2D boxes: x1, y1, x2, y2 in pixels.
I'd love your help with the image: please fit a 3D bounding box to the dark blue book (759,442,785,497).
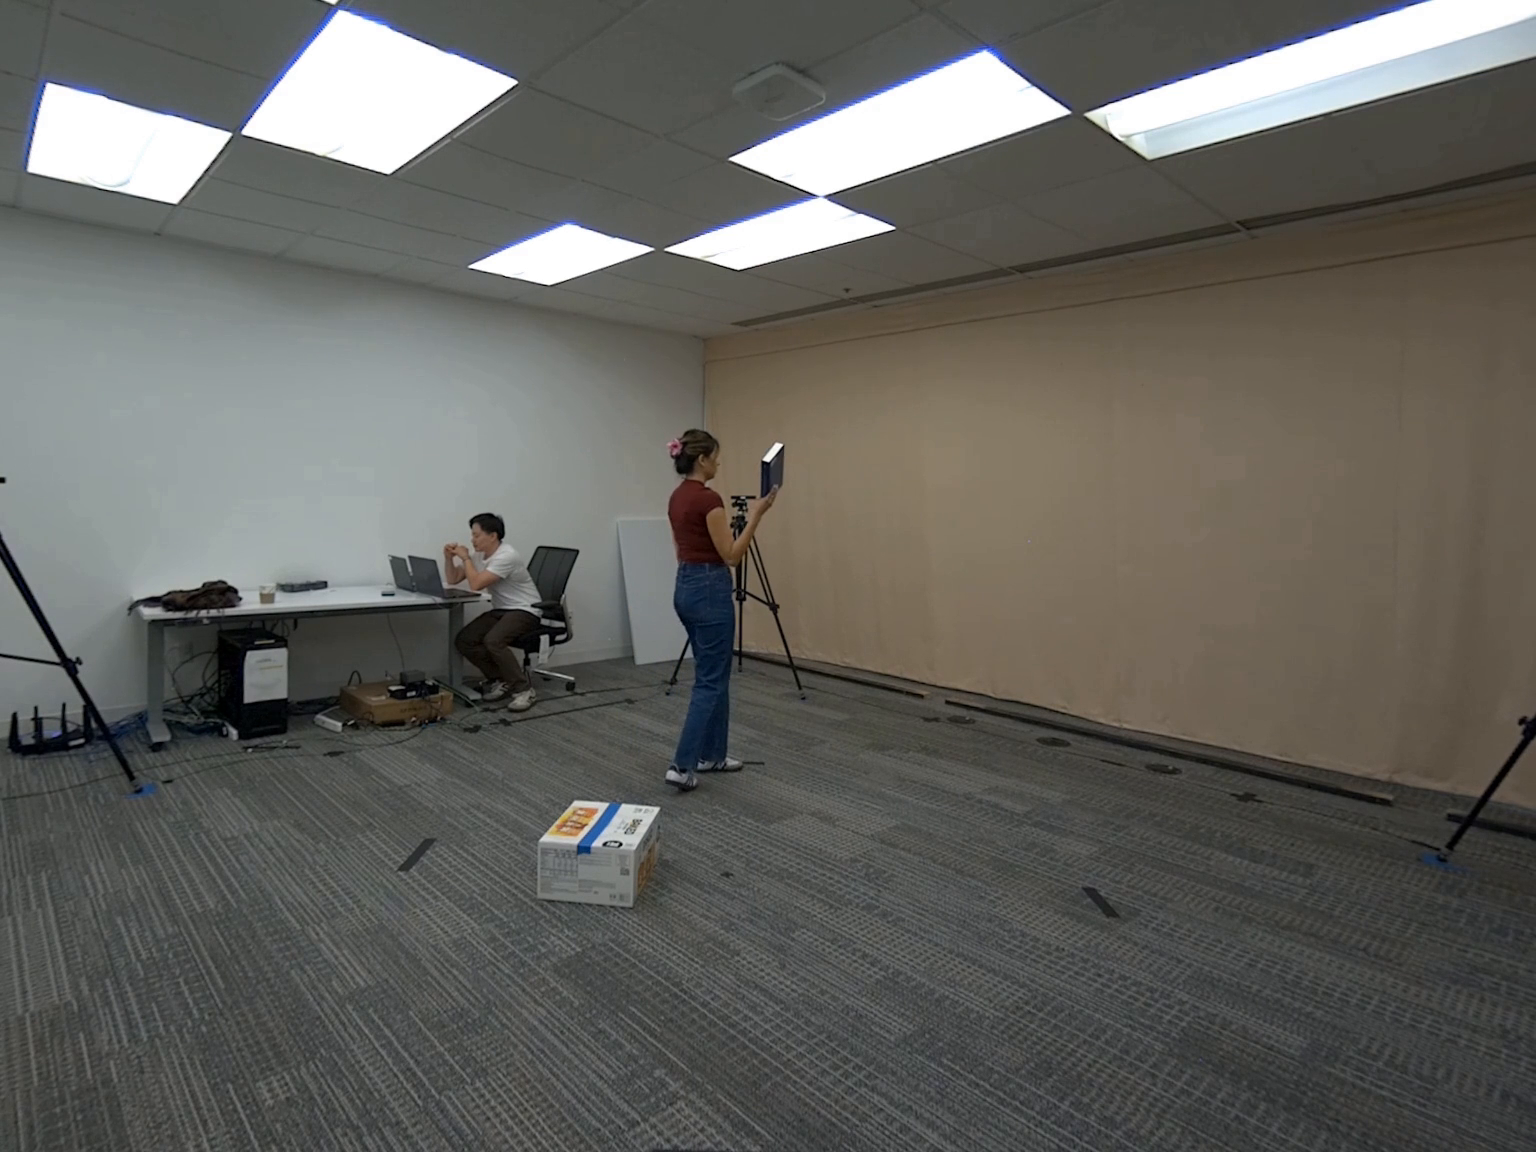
[{"bbox_3d":[0.009,-0.483,3.933,0.046,0.240,0.164,21,48,18],"label":"dark blue book"}]
